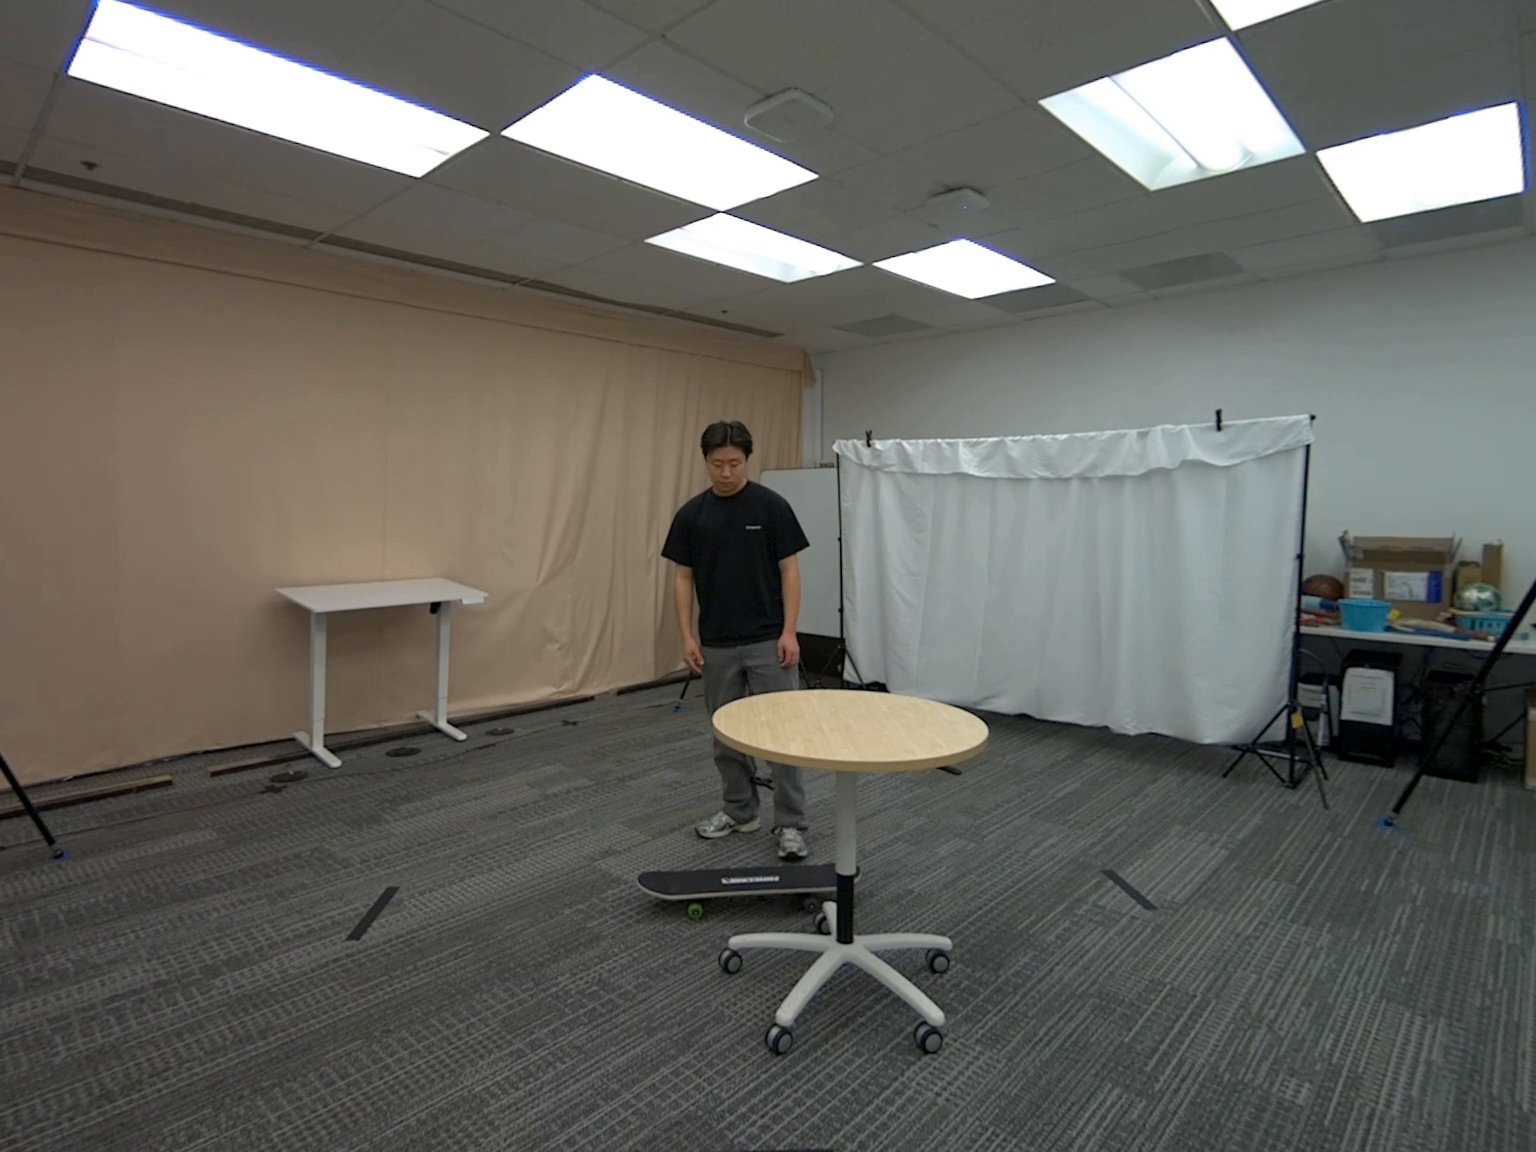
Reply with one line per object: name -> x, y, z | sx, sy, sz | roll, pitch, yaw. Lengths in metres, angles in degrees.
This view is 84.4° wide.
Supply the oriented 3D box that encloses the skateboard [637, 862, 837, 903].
skateboard -> -0.065, 1.089, 2.939 | 0.779, 0.110, 0.195 | -1, 6, -7
